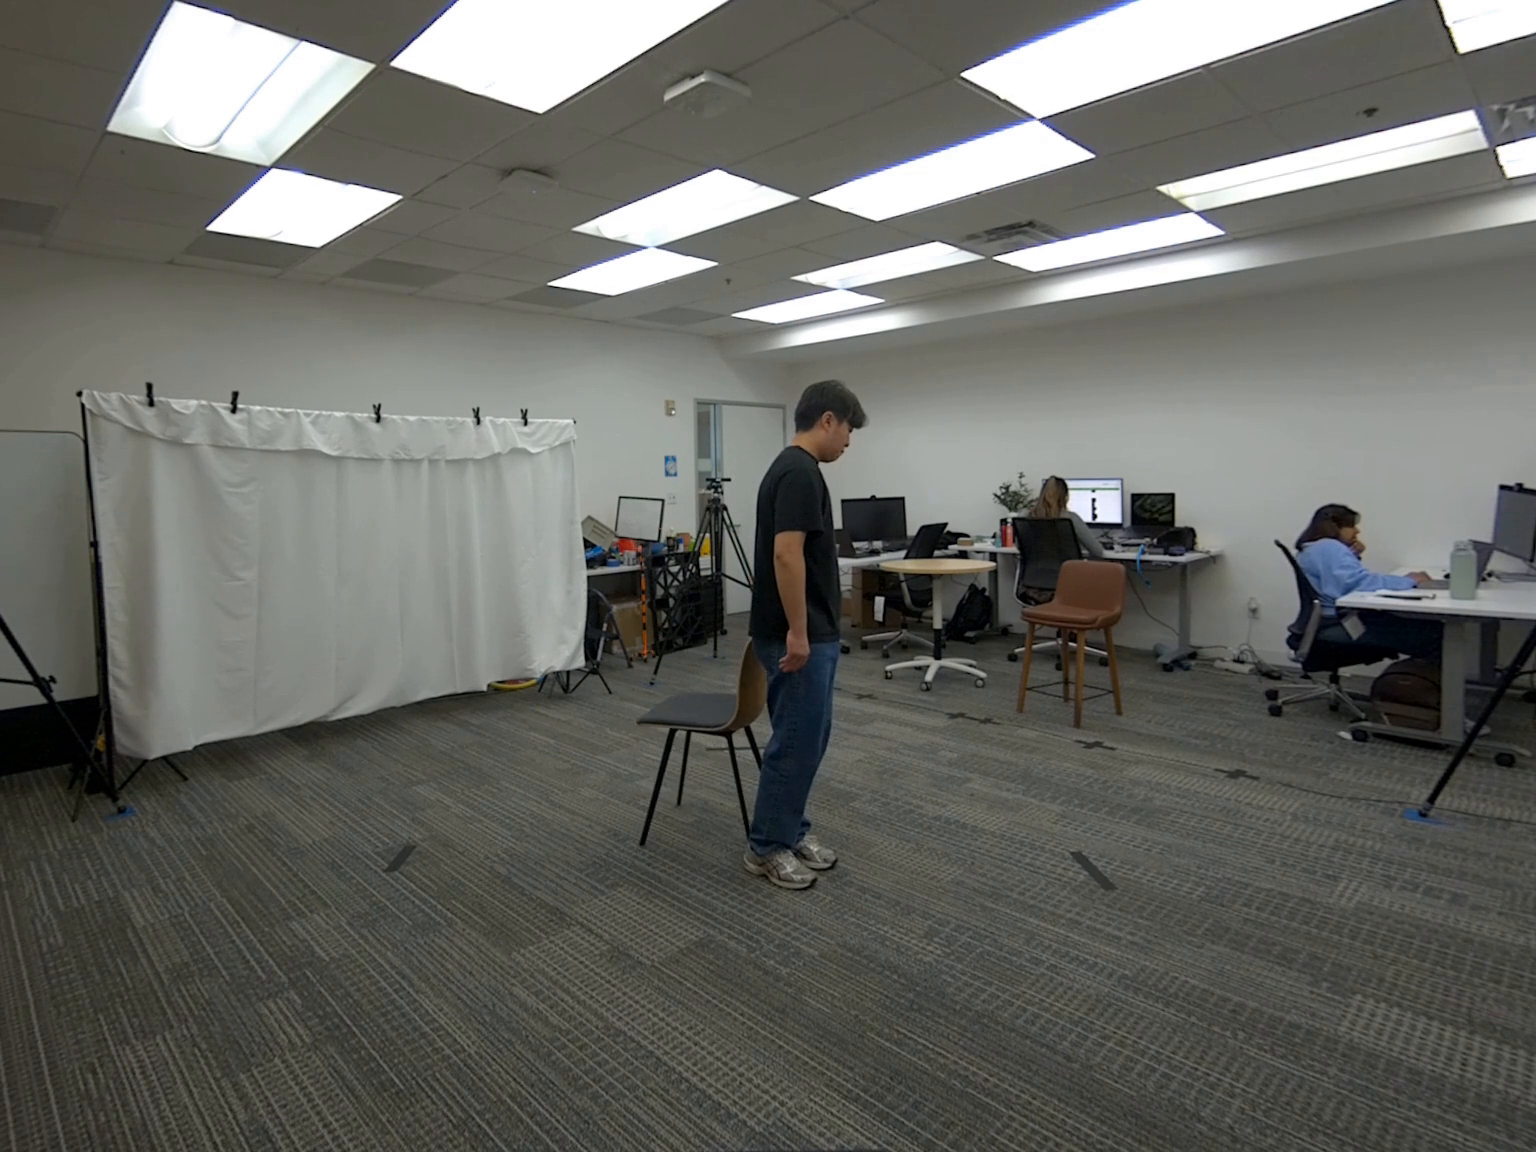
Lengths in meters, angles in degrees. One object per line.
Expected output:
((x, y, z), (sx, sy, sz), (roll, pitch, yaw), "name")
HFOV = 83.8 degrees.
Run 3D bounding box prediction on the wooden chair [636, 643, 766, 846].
((-0.232, 0.585, 3.383), (0.532, 0.874, 0.472), (4, 5, 15), "wooden chair")
